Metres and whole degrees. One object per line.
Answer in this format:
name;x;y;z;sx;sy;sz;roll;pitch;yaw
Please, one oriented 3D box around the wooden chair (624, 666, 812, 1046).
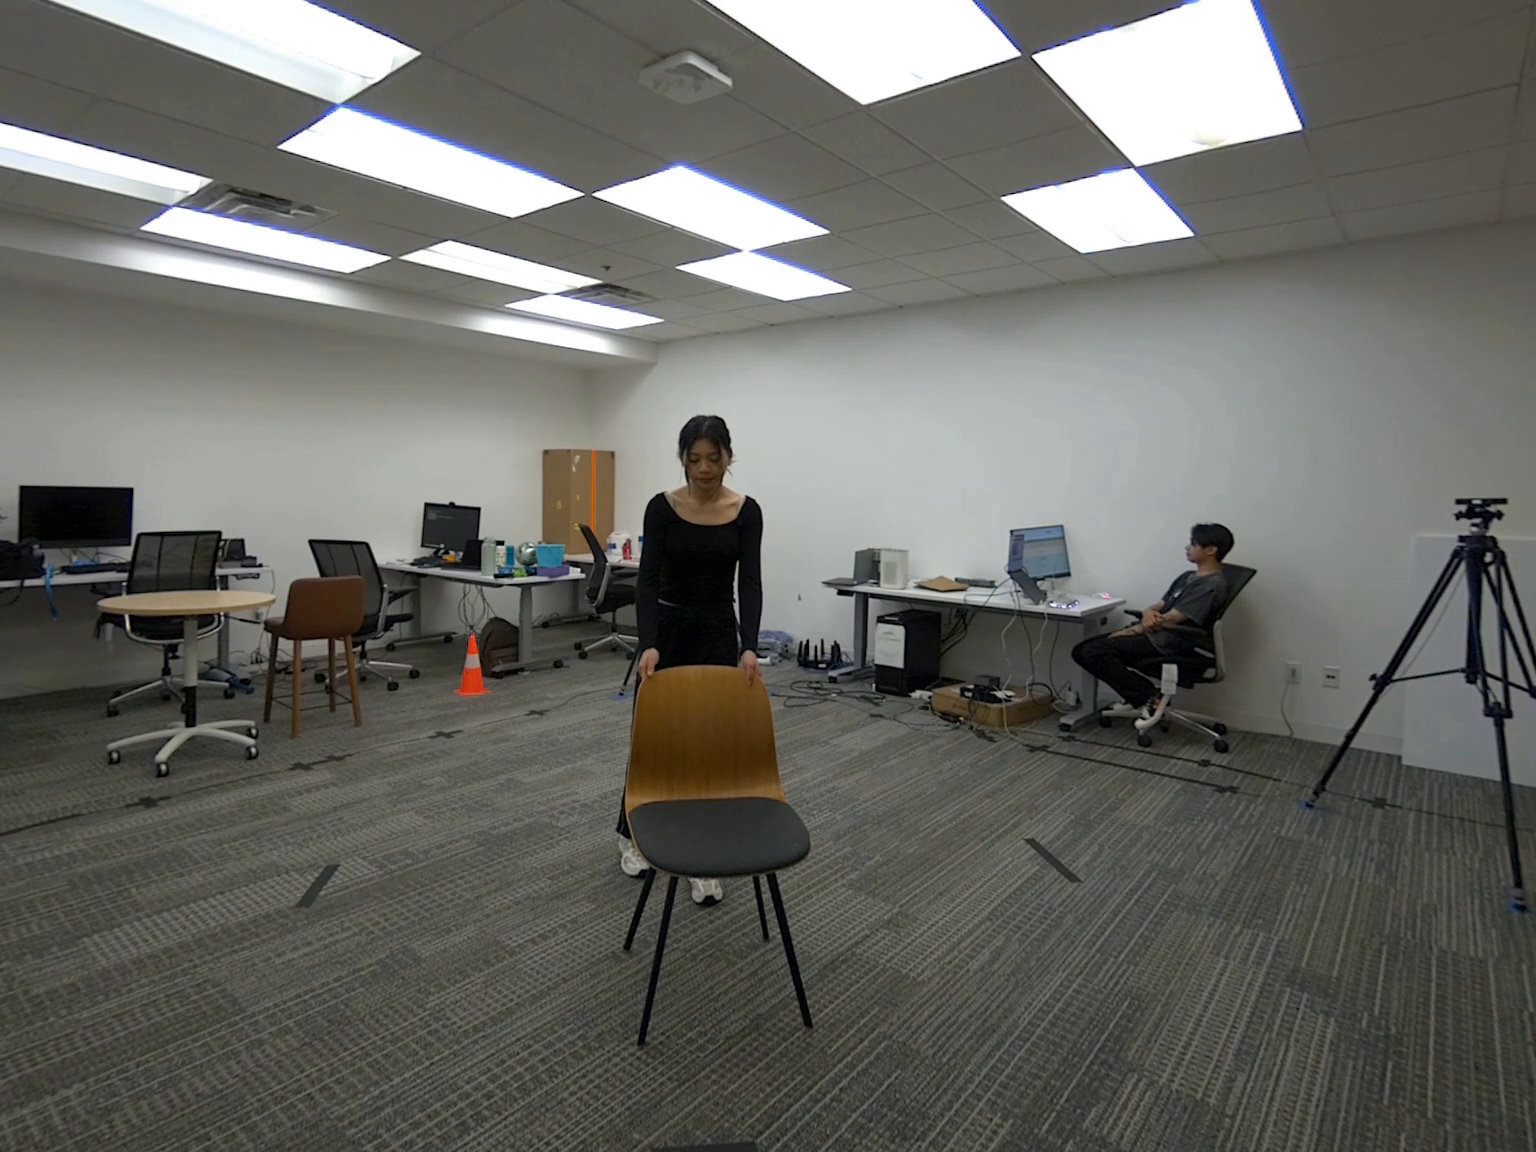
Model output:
wooden chair;-0.151;0.716;2.343;0.472;0.878;0.529;1;-1;-13
